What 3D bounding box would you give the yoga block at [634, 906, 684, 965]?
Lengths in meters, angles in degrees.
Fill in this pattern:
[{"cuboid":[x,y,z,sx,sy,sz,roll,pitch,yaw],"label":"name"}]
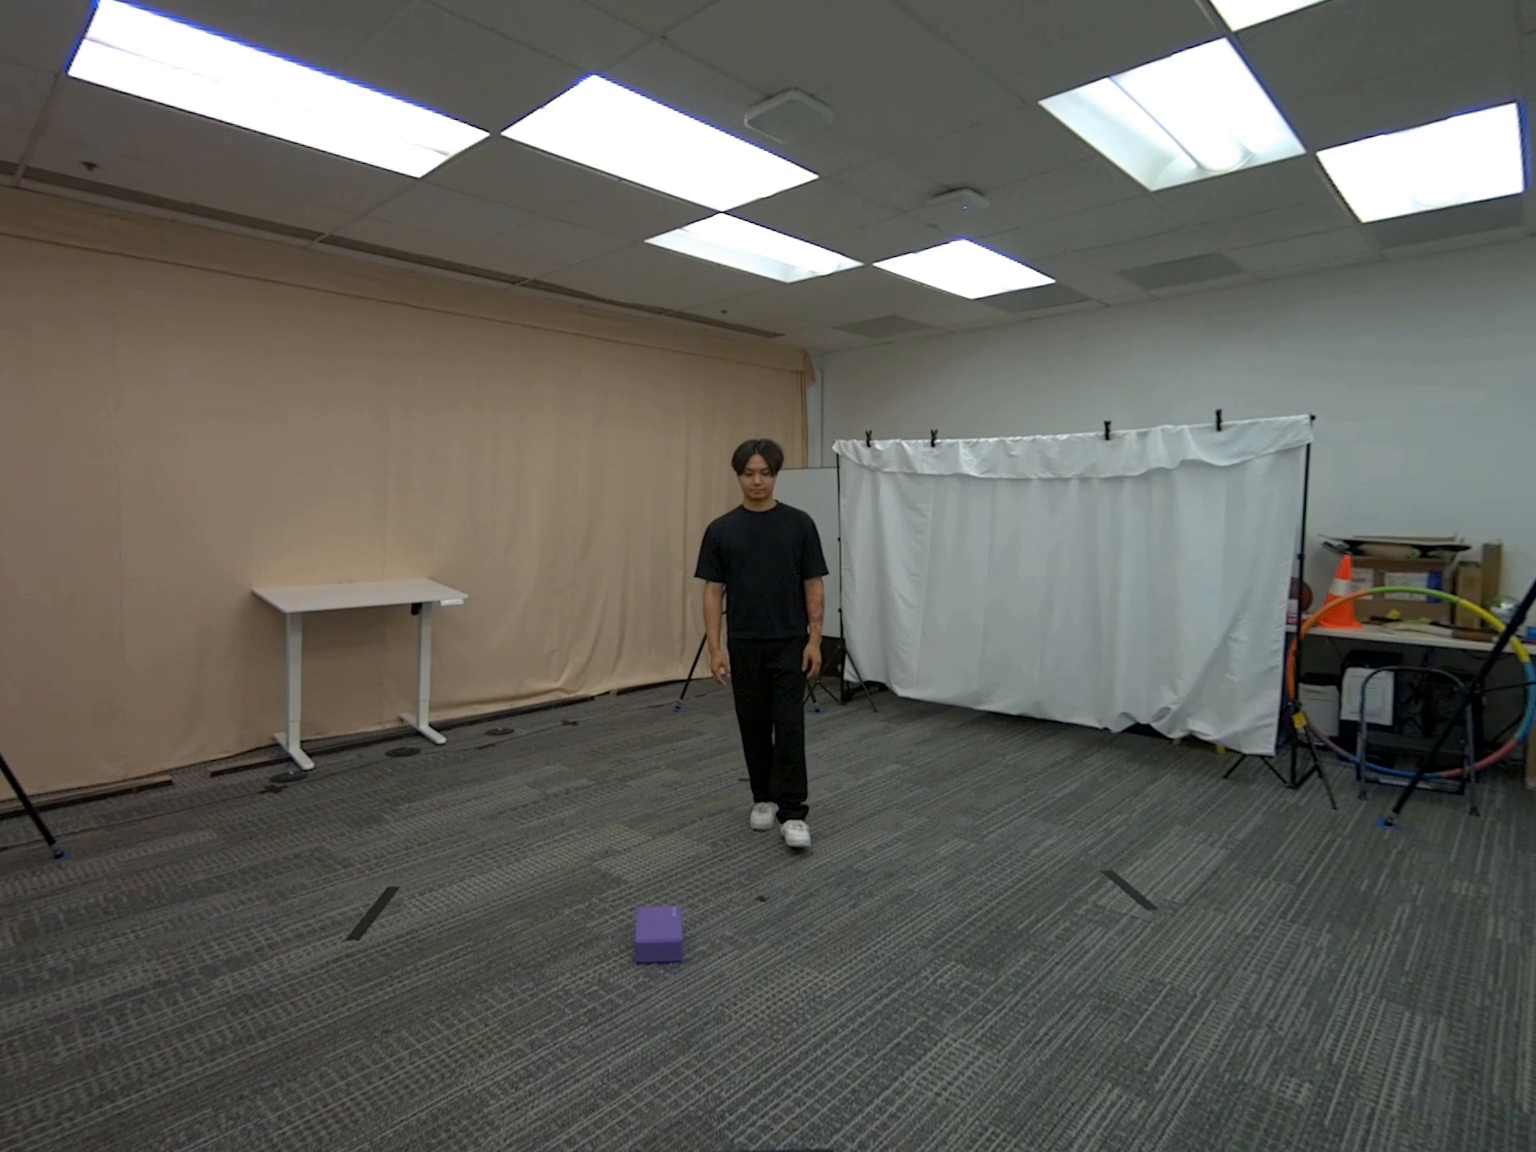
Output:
[{"cuboid":[-0.346,1.133,2.663,0.148,0.076,0.231,0,6,-6],"label":"yoga block"}]
